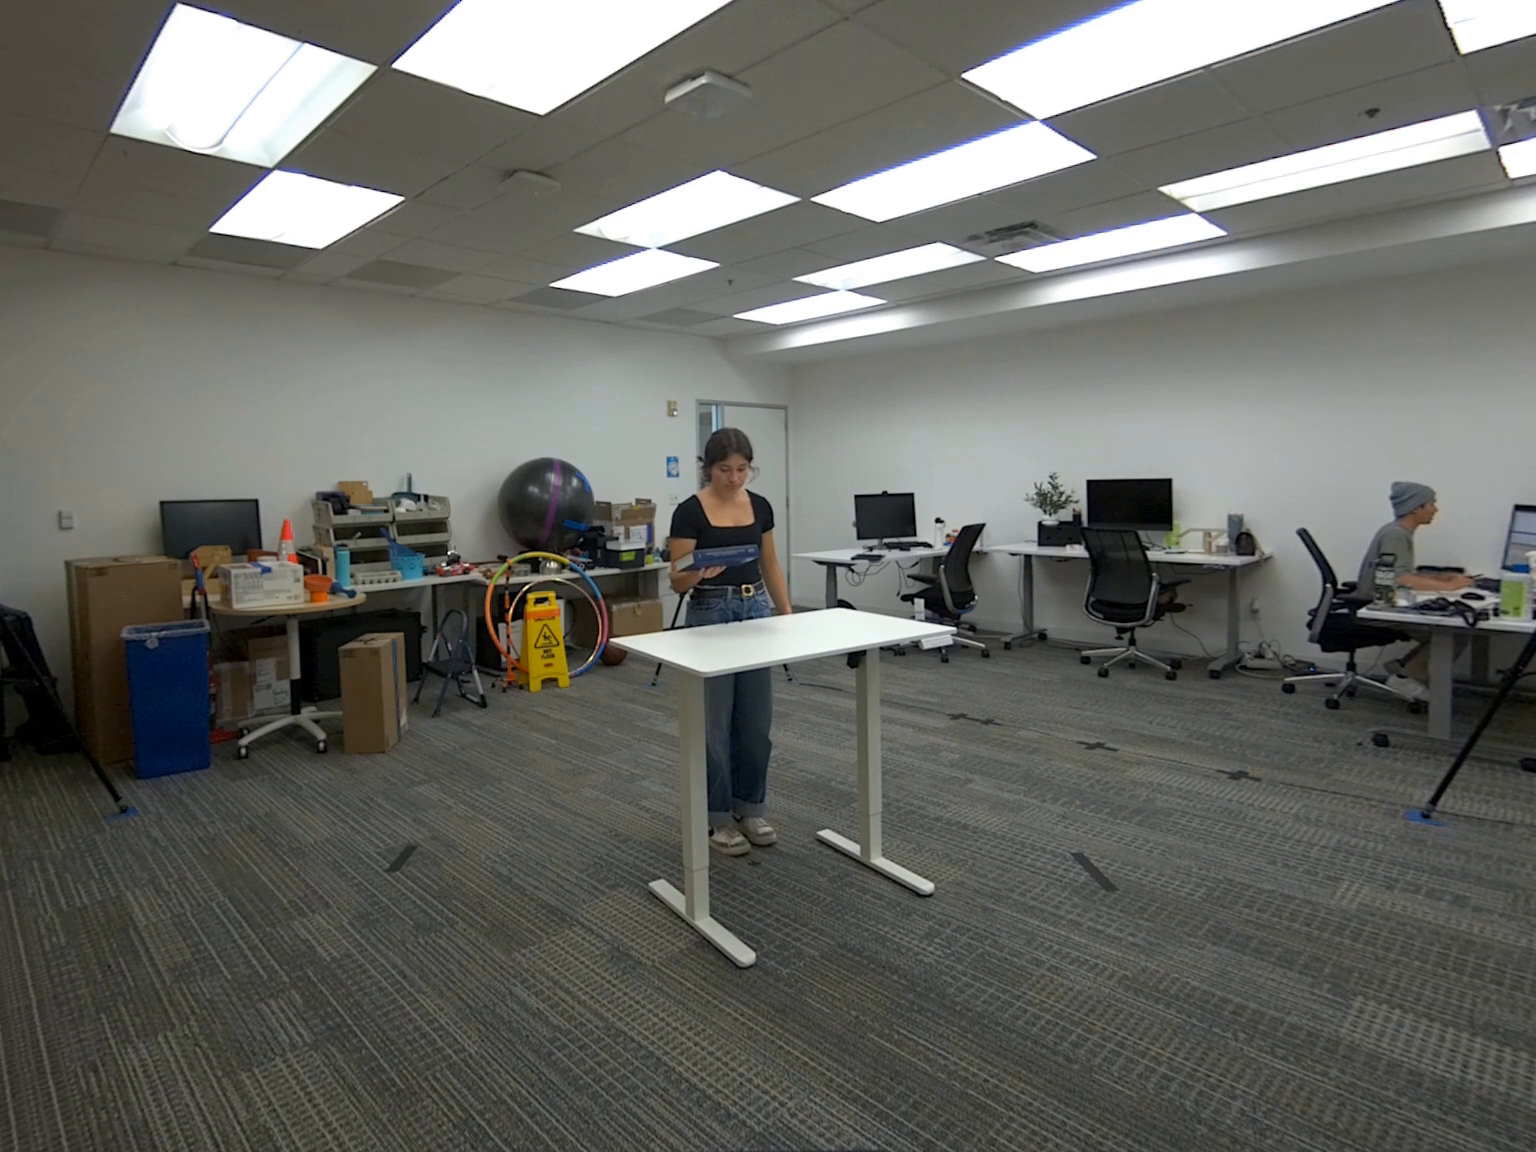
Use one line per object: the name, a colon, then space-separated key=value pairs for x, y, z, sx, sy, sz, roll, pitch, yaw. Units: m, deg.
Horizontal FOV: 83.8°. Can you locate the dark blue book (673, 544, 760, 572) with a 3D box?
dark blue book: x=-0.188 y=-0.054 z=2.869 sx=0.240 sy=0.045 sz=0.165 roll=-7 pitch=-8 yaw=-28
